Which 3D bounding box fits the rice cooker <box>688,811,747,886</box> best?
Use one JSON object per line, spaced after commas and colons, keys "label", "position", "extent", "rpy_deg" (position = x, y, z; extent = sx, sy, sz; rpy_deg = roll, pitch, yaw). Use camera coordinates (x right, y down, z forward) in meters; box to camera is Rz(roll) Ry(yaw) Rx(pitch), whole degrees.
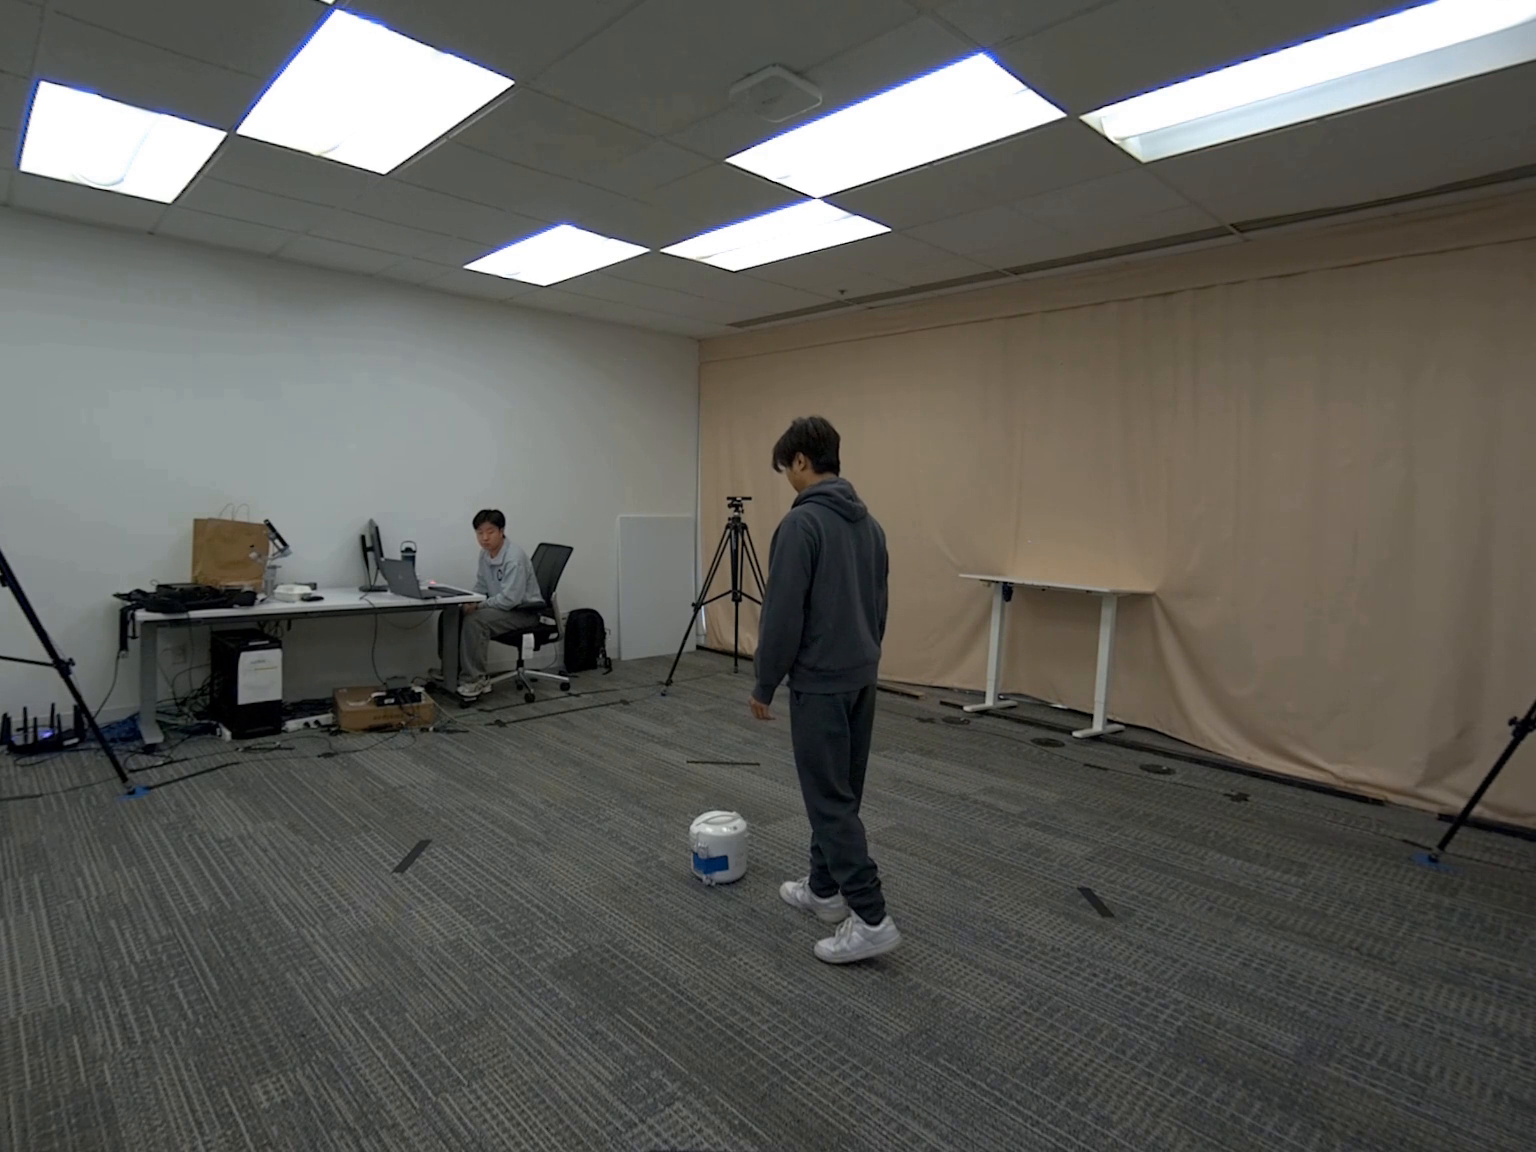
{"label": "rice cooker", "position": [-0.188, 0.986, 3.108], "extent": [0.217, 0.232, 0.222], "rpy_deg": [0, 5, -22]}
